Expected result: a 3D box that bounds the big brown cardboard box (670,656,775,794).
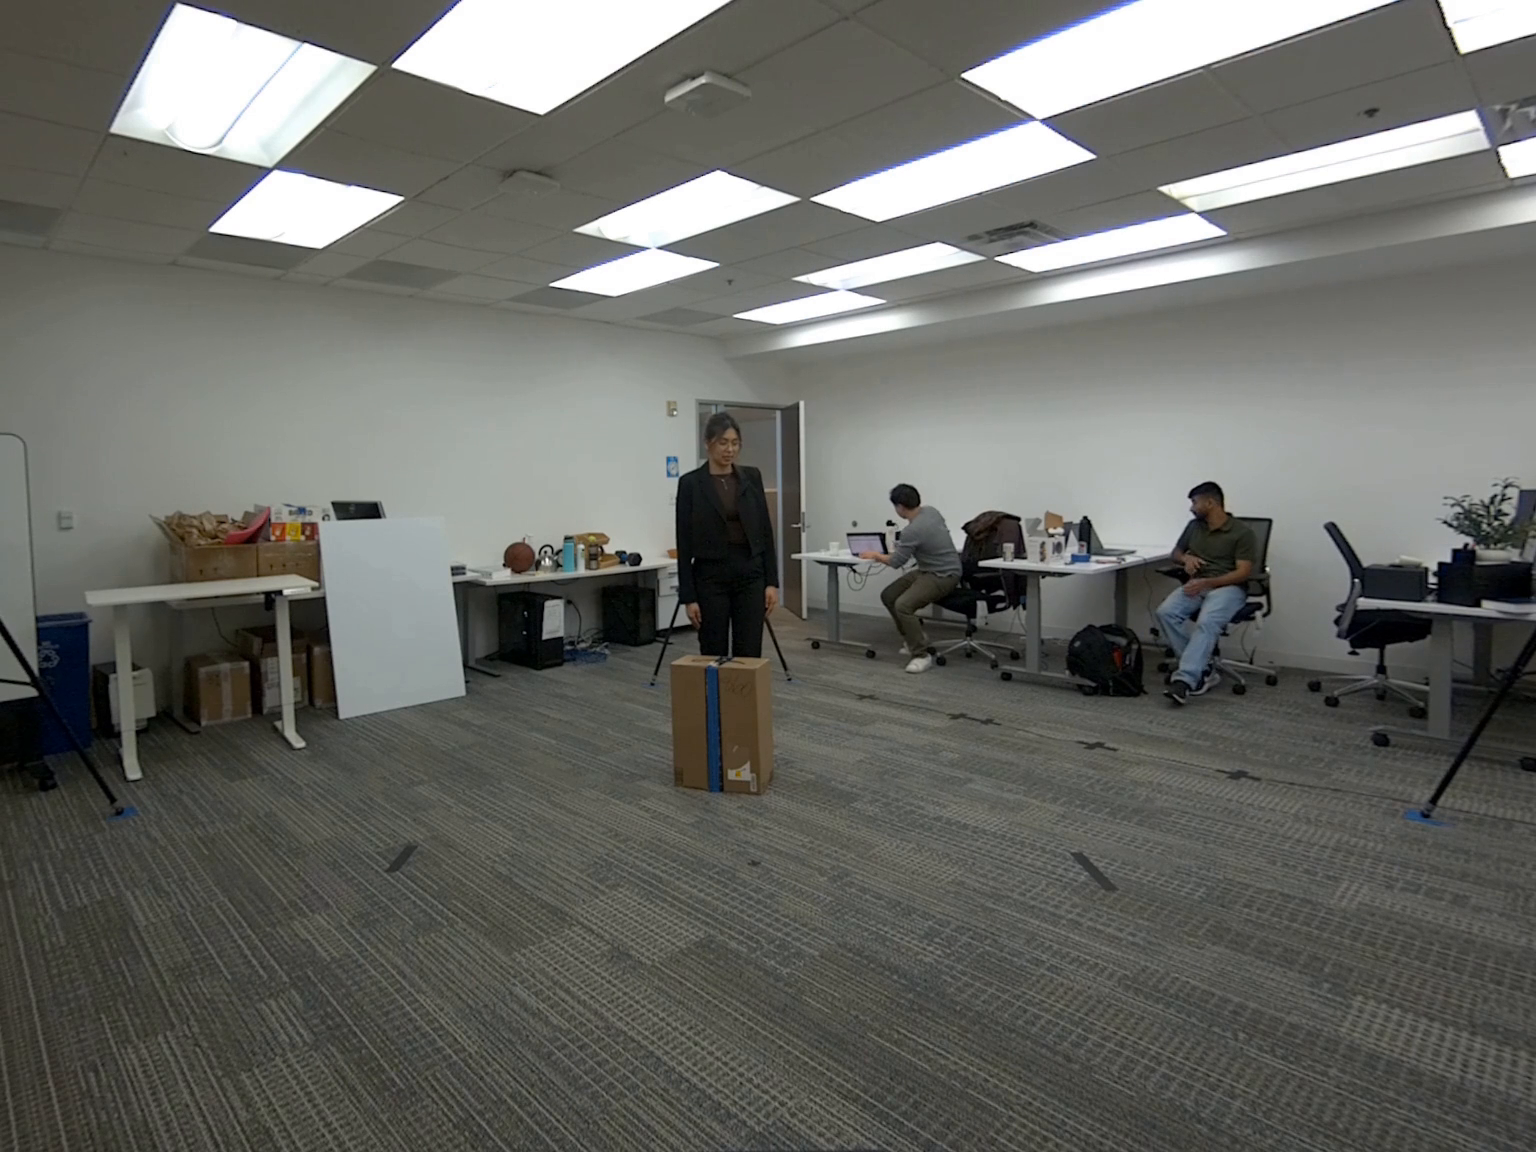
[{"bbox_3d":[-0.214,0.680,3.929,0.425,0.588,0.229,-1,3,19],"label":"big brown cardboard box"}]
